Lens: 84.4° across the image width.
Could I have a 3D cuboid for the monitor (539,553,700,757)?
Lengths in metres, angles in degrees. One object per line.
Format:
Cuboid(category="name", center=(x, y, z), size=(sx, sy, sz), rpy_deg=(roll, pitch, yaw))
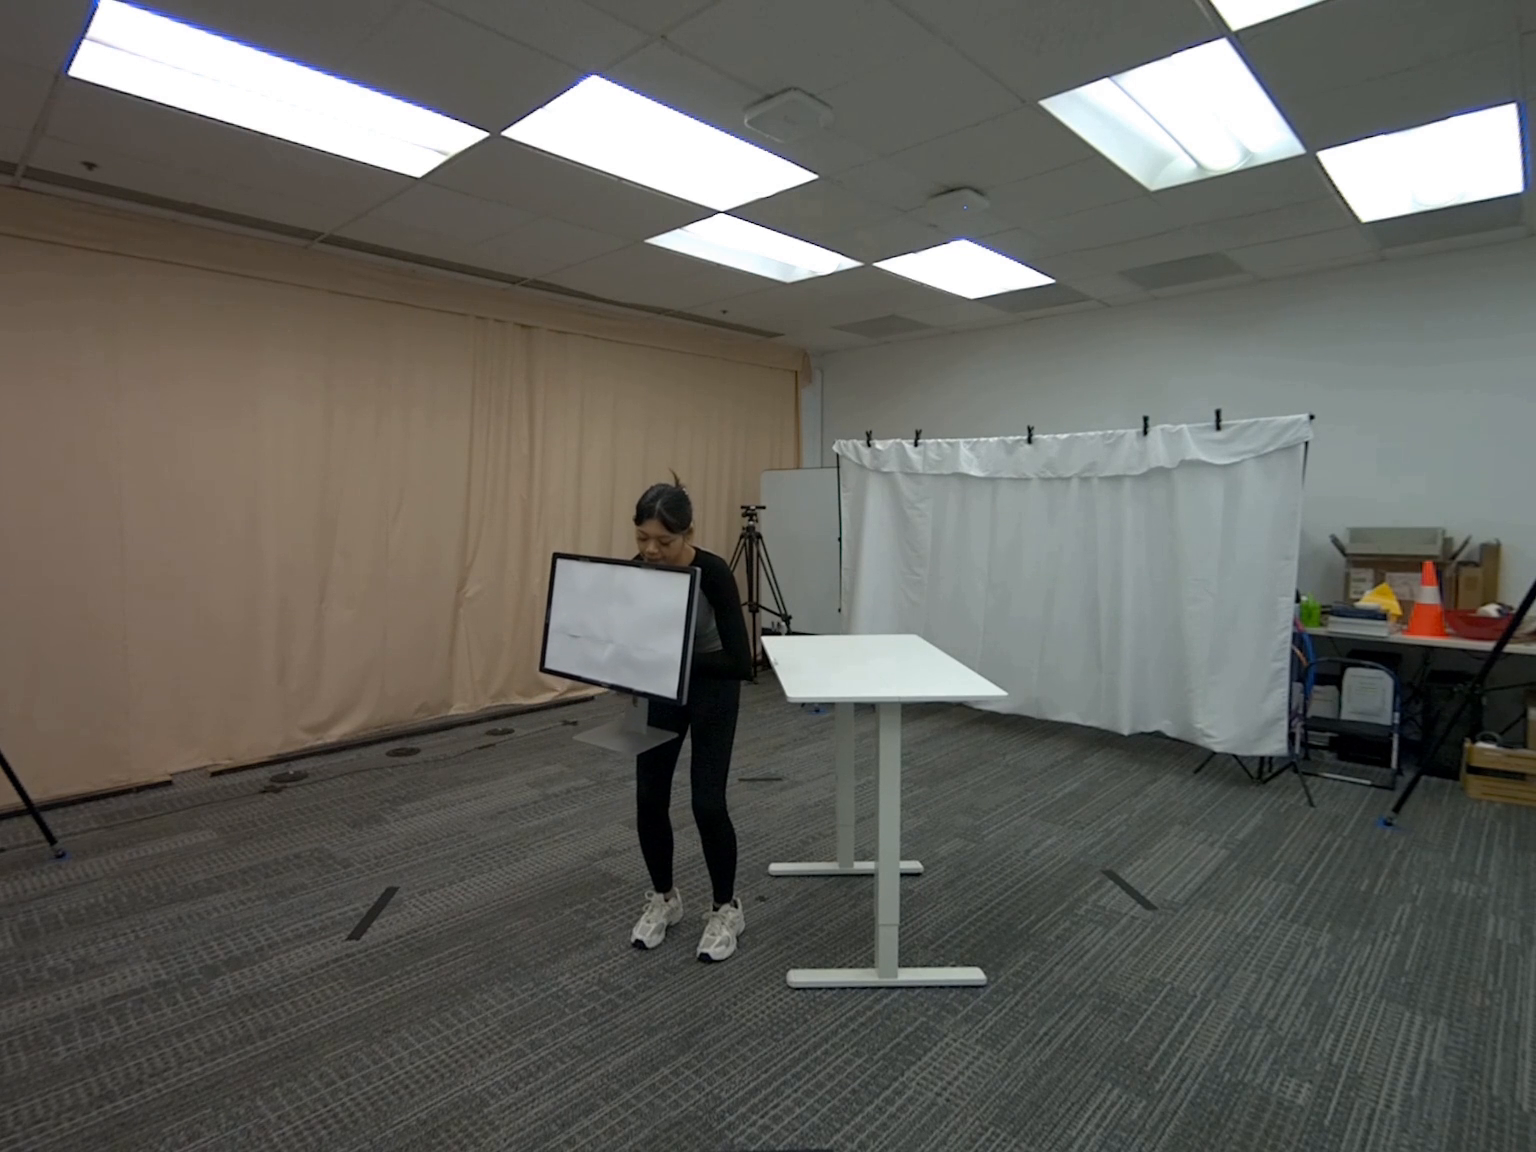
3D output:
Cuboid(category="monitor", center=(-0.410, 0.217, 2.407), size=(0.556, 0.520, 0.182), rpy_deg=(6, 10, 35))
